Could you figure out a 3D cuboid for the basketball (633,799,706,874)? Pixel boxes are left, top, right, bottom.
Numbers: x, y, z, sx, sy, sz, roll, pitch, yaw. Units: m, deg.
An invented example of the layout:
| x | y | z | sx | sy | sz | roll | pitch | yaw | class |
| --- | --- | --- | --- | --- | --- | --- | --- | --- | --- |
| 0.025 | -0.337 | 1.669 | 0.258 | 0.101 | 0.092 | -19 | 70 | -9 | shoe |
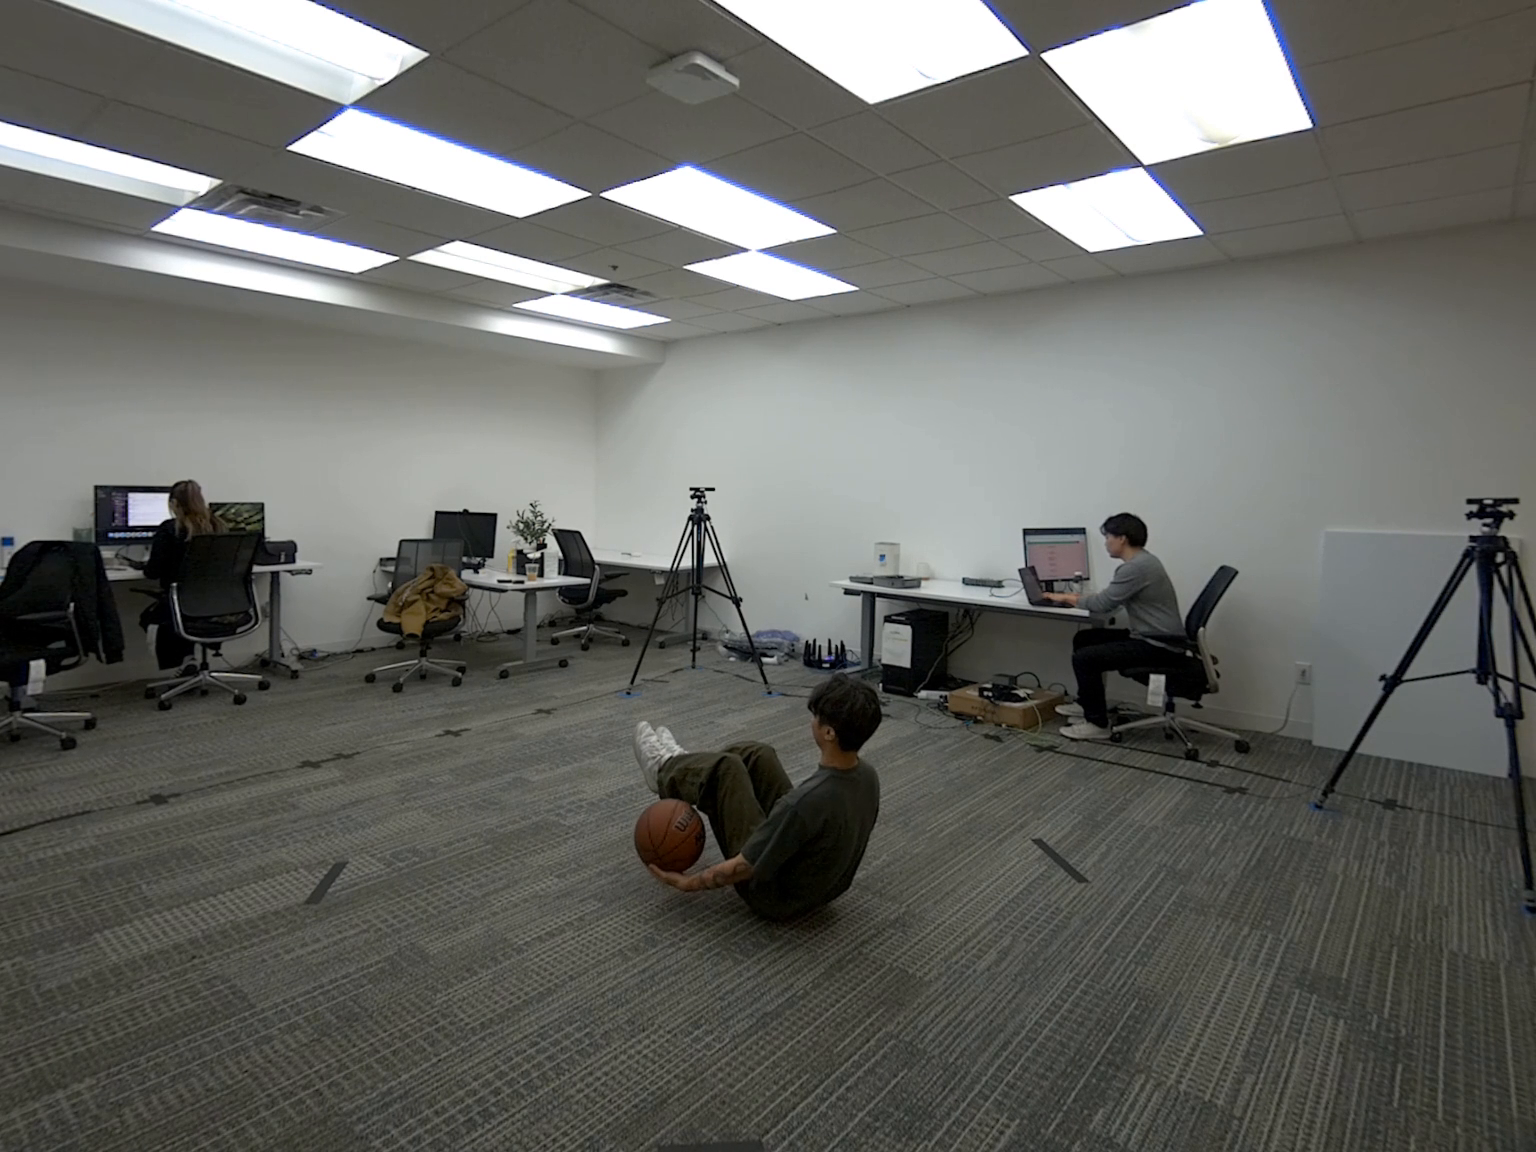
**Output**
| x | y | z | sx | sy | sz | roll | pitch | yaw | class |
| --- | --- | --- | --- | --- | --- | --- | --- | --- | --- |
| -0.333 | 0.856 | 2.843 | 0.235 | 0.235 | 0.237 | 1 | 4 | -2 | basketball |
